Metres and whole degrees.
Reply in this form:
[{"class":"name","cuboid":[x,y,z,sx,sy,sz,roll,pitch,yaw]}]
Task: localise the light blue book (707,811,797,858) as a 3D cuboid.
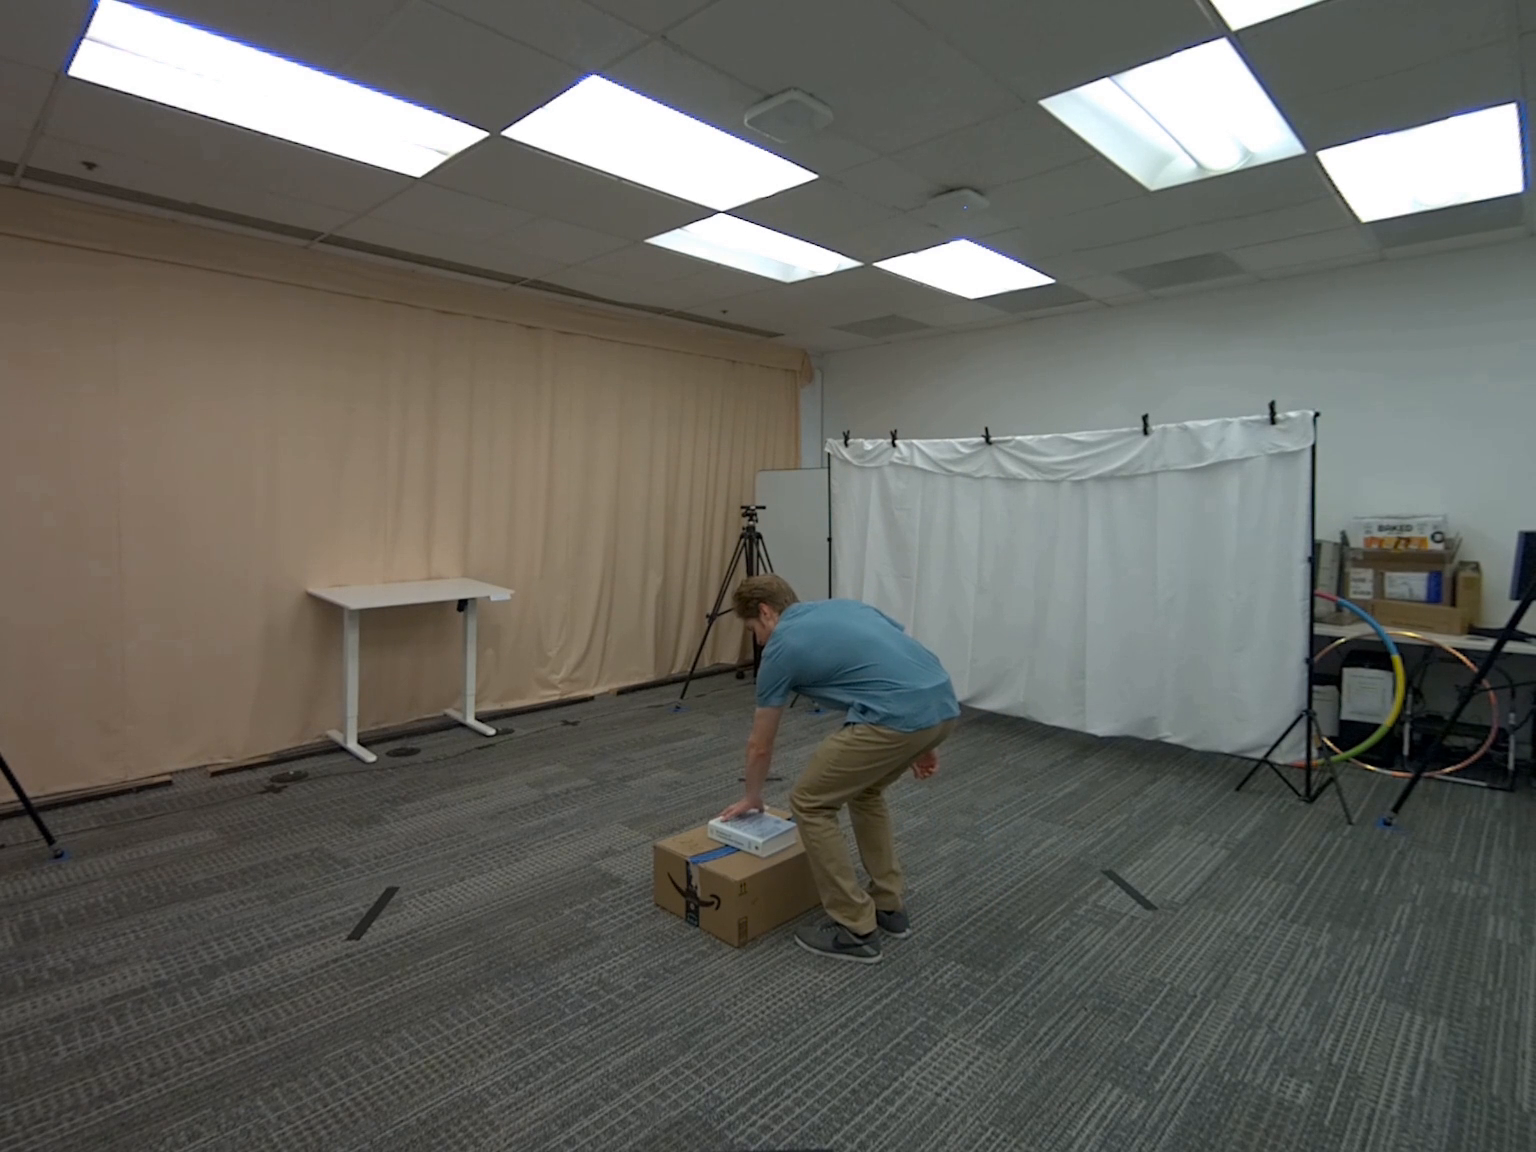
[{"class":"light blue book","cuboid":[-0.051,0.901,2.979,0.270,0.059,0.186,3,8,43]}]
